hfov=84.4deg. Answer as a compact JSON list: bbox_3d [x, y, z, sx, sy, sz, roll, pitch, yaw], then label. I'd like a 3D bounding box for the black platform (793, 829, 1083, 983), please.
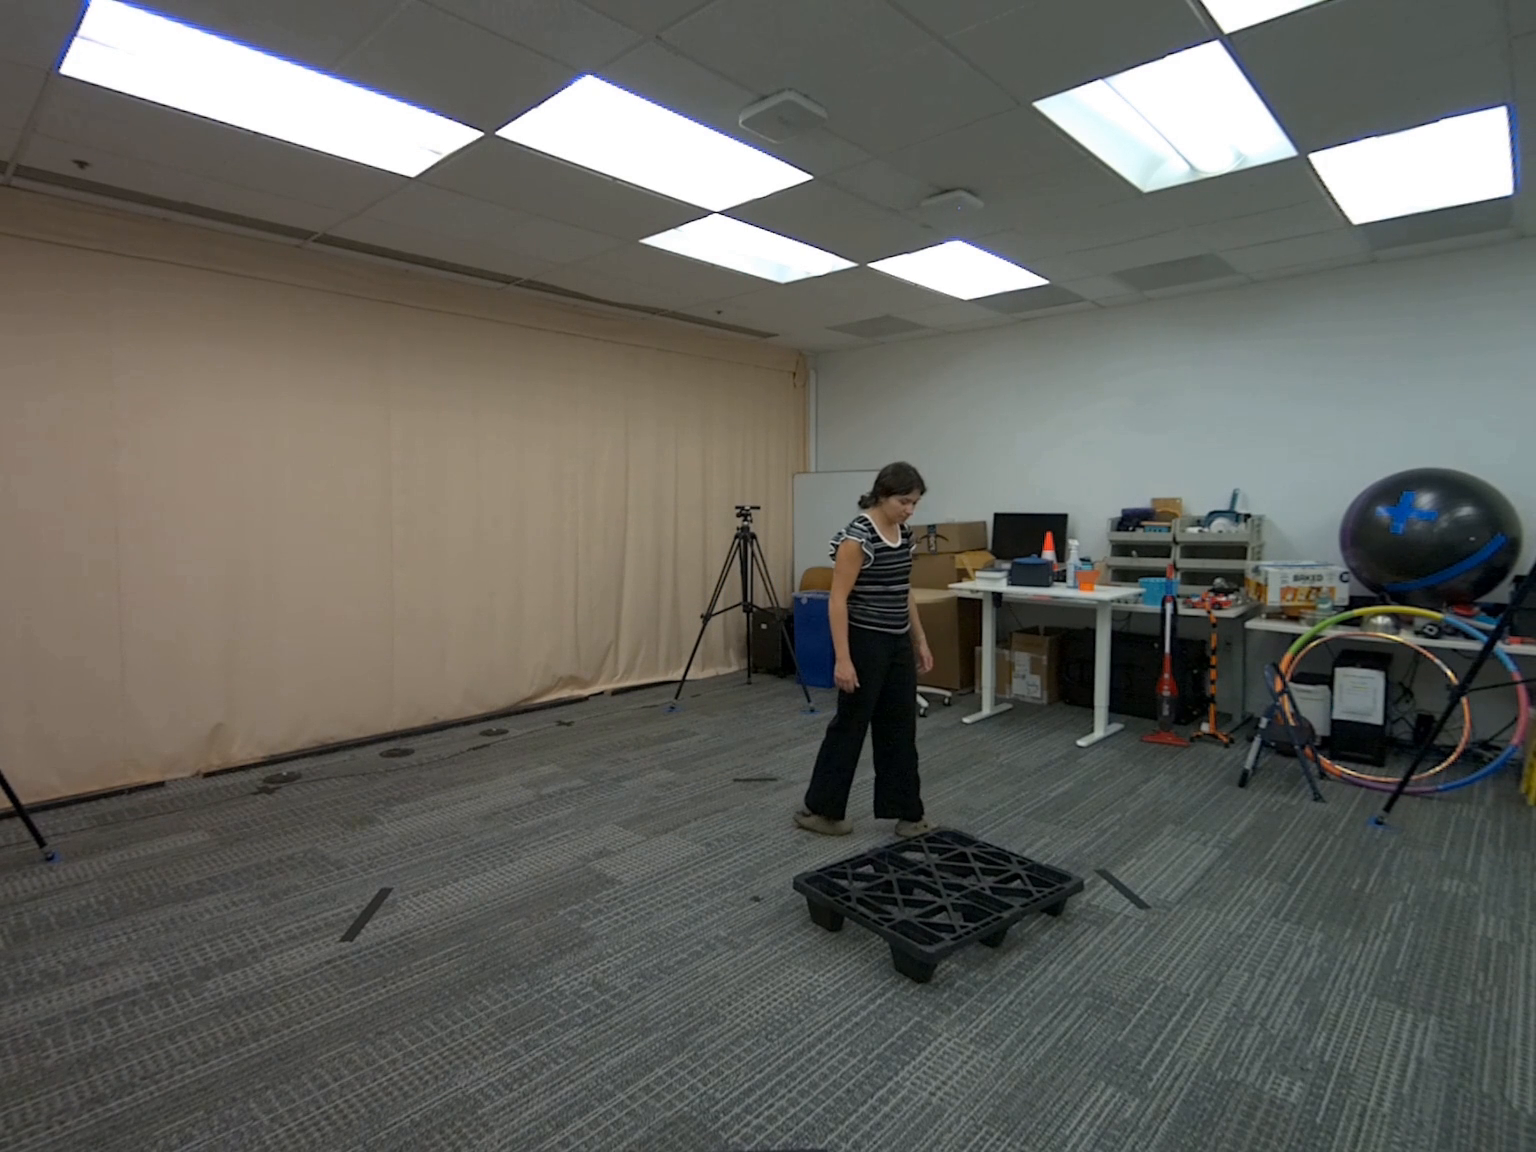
[{"bbox_3d":[0.582,1.088,2.842,0.782,0.143,0.625,-4,7,-37],"label":"black platform"}]
